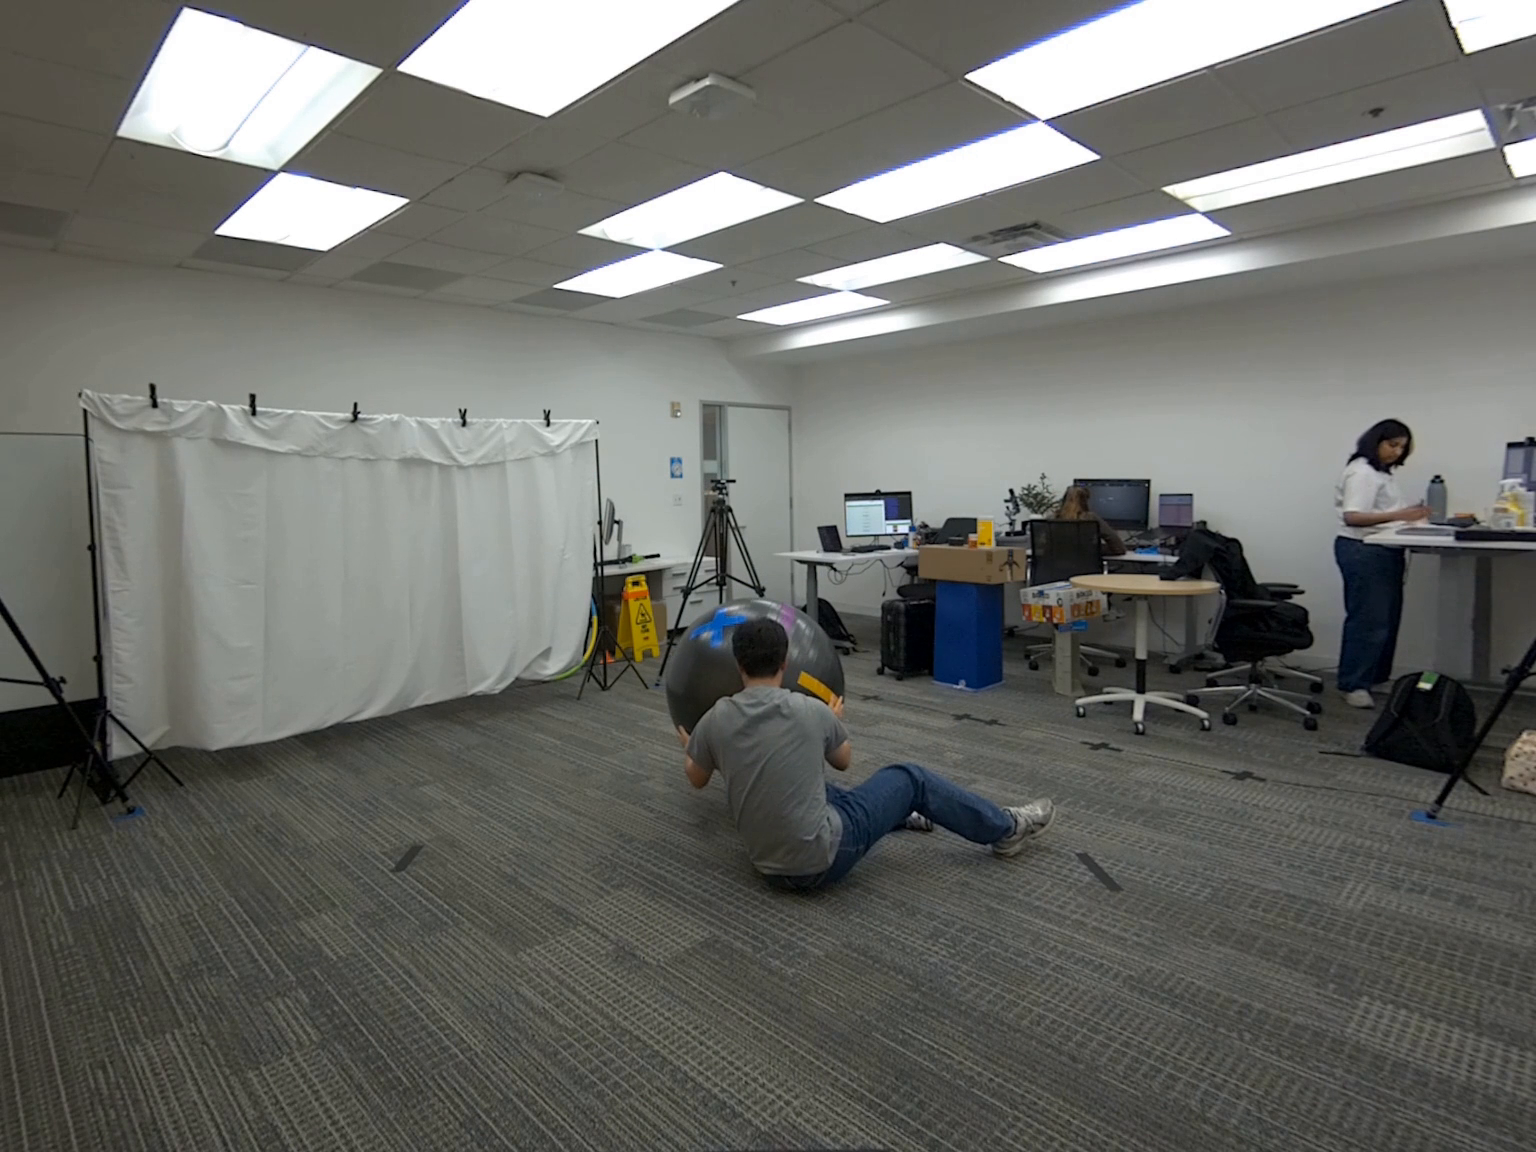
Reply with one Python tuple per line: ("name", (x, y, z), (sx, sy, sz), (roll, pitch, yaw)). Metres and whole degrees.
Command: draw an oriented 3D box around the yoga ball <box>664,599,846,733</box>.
("yoga ball", (-0.059, 0.476, 3.653), (0.757, 0.755, 0.762), (-1, 5, -2))
